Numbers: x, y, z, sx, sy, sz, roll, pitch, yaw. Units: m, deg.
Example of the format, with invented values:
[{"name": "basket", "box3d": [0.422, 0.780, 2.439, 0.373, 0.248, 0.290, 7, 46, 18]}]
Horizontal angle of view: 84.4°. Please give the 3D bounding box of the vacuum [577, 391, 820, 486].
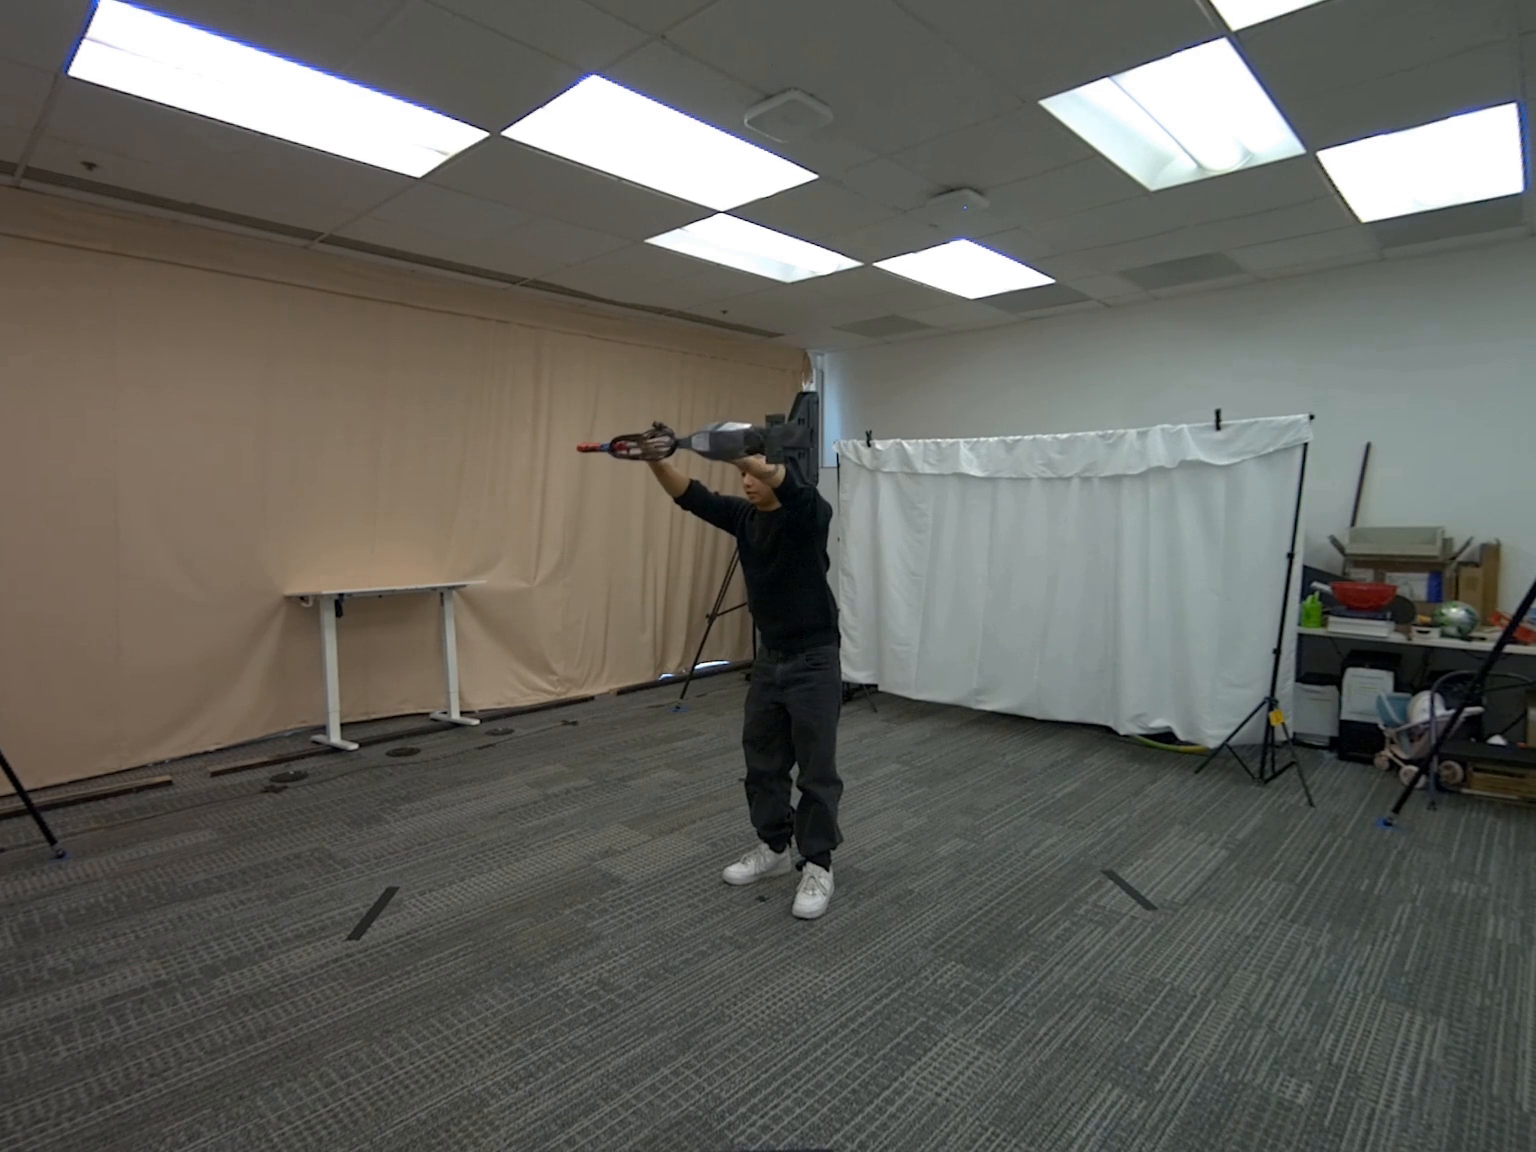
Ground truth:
[{"name": "vacuum", "box3d": [-0.289, -0.399, 2.619, 0.139, 0.252, 1.085, -2, 6, -43]}]
